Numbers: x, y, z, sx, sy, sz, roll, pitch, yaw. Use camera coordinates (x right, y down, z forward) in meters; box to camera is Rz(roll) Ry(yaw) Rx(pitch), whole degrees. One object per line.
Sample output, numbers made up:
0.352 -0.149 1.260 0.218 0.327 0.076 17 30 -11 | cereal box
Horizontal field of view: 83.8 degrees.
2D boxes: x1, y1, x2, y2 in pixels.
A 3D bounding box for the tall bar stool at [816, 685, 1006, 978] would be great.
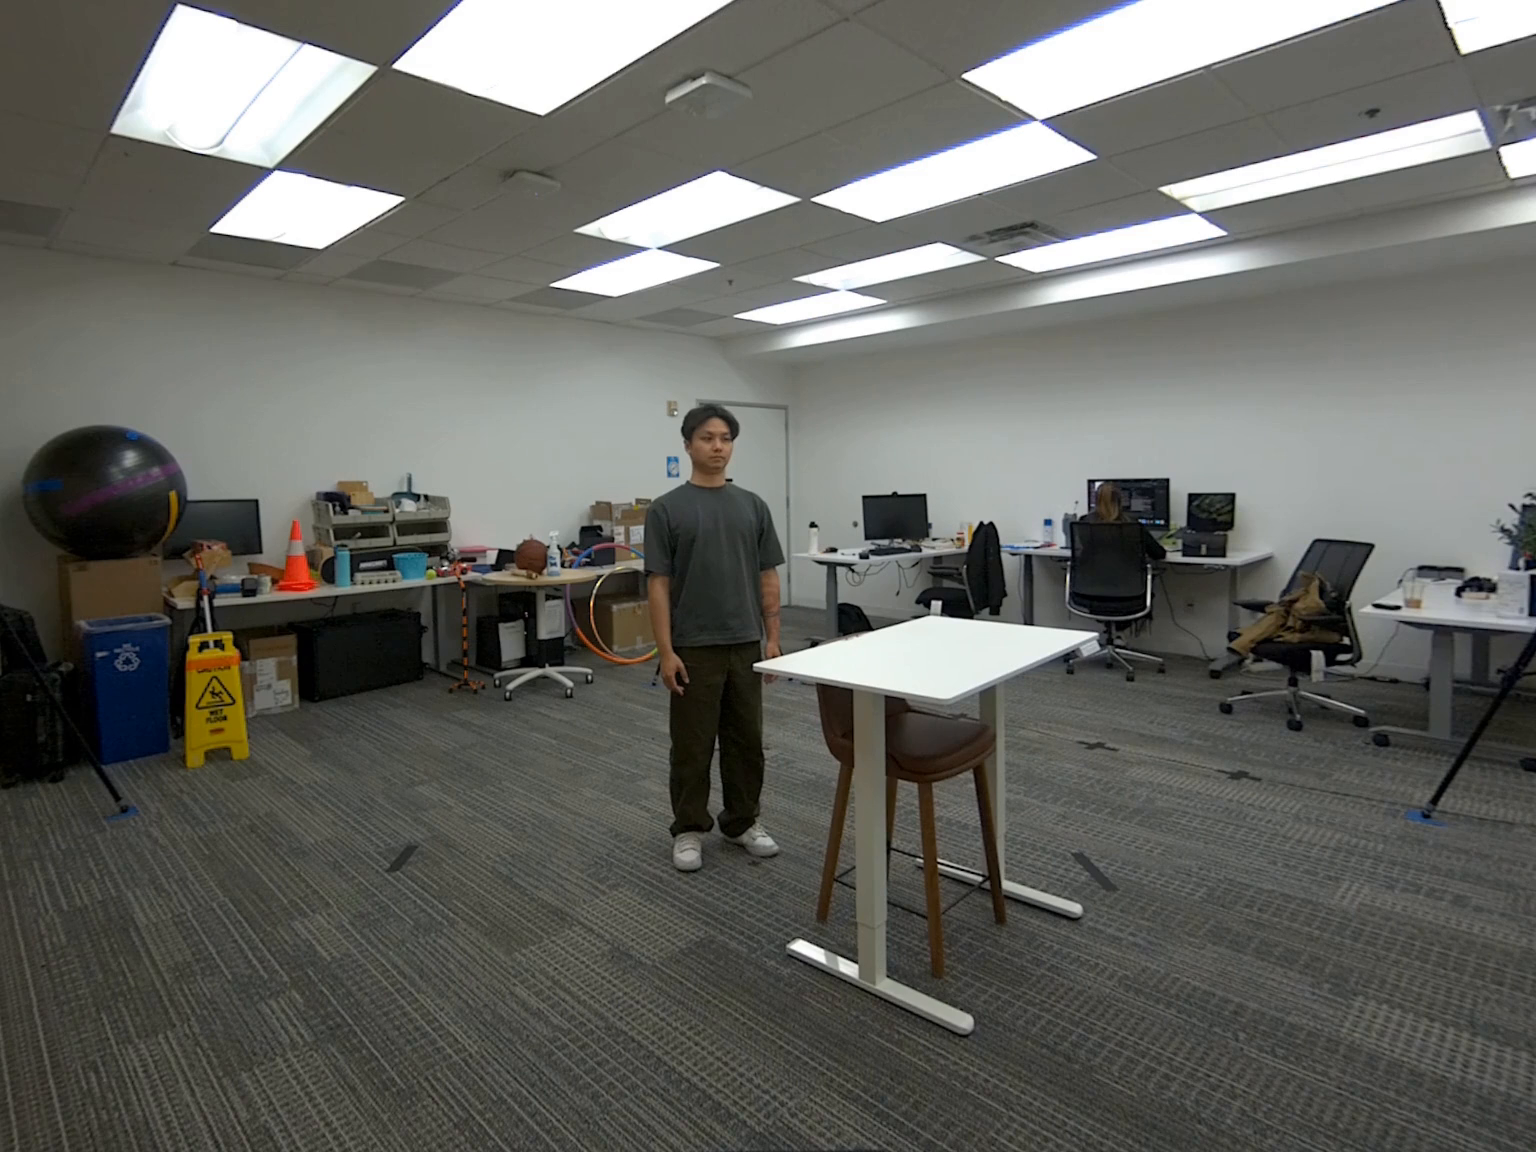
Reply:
0.433 0.653 2.653 0.481 0.888 0.444 0 4 42 | tall bar stool
